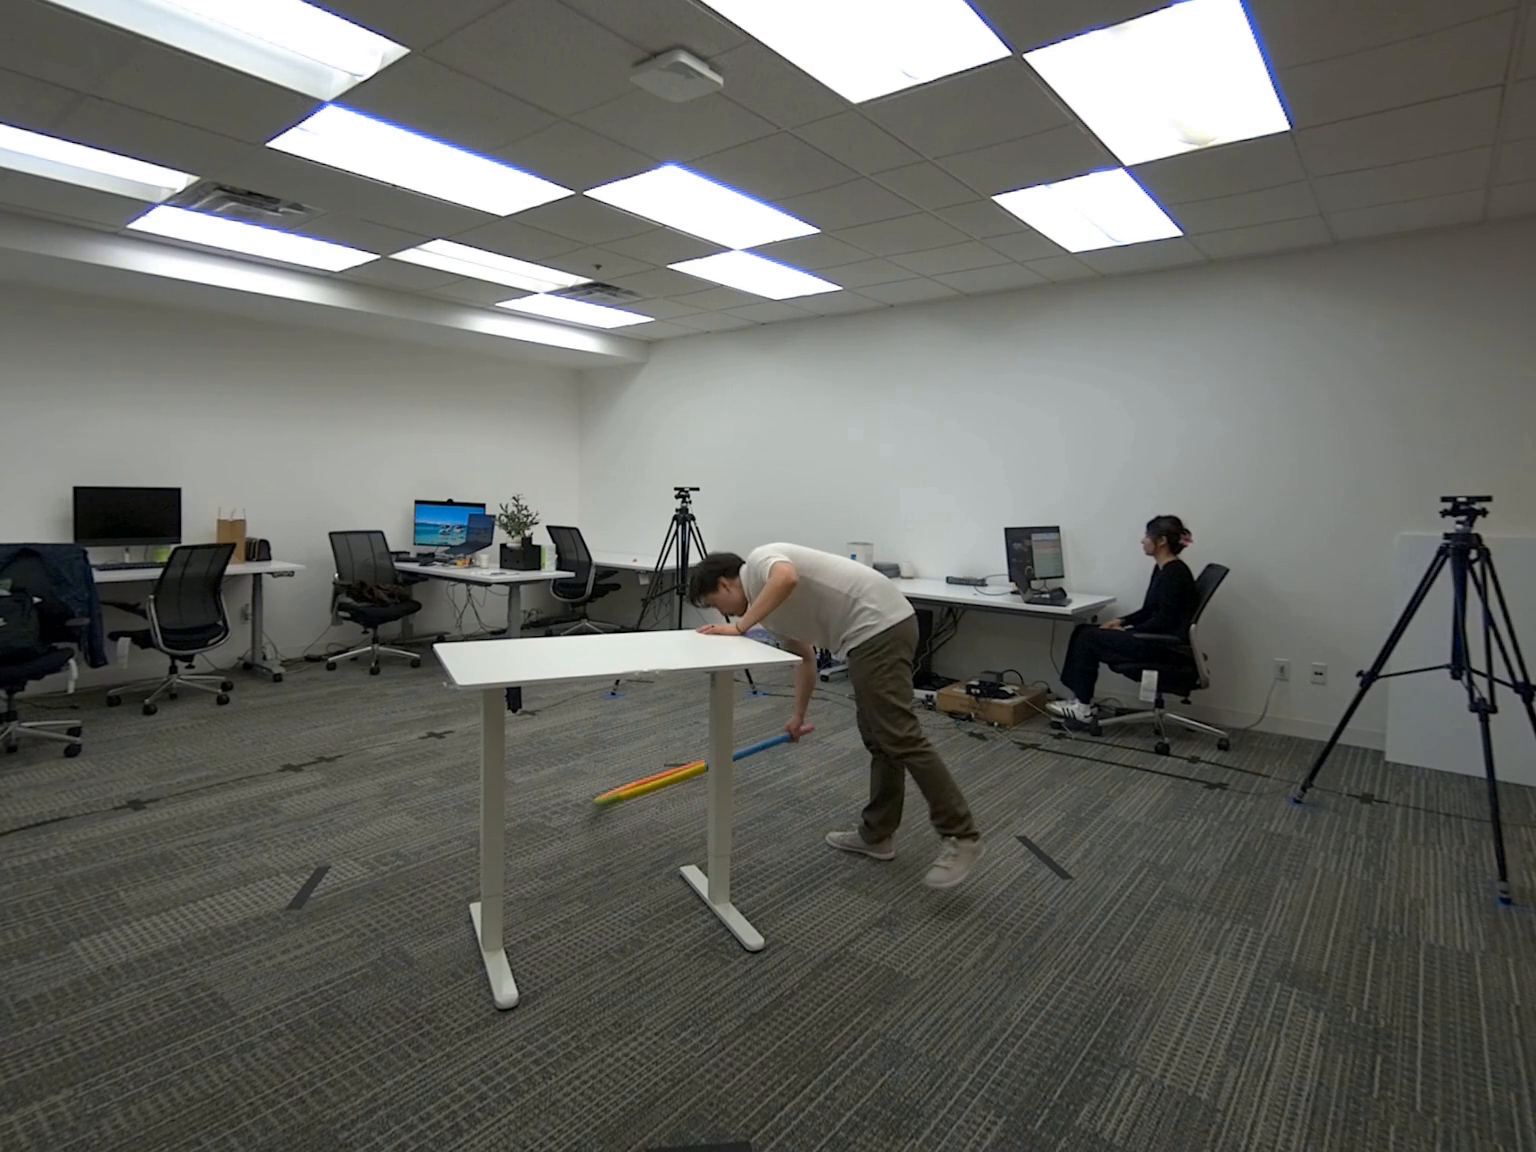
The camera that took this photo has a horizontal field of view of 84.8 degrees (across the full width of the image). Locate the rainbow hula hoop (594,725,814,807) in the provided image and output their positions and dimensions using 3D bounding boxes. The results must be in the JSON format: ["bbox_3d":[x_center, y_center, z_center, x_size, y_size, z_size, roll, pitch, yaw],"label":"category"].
[{"bbox_3d":[-0.302,0.801,3.636,0.975,0.036,0.967,-17,-10,-6],"label":"rainbow hula hoop"}]
